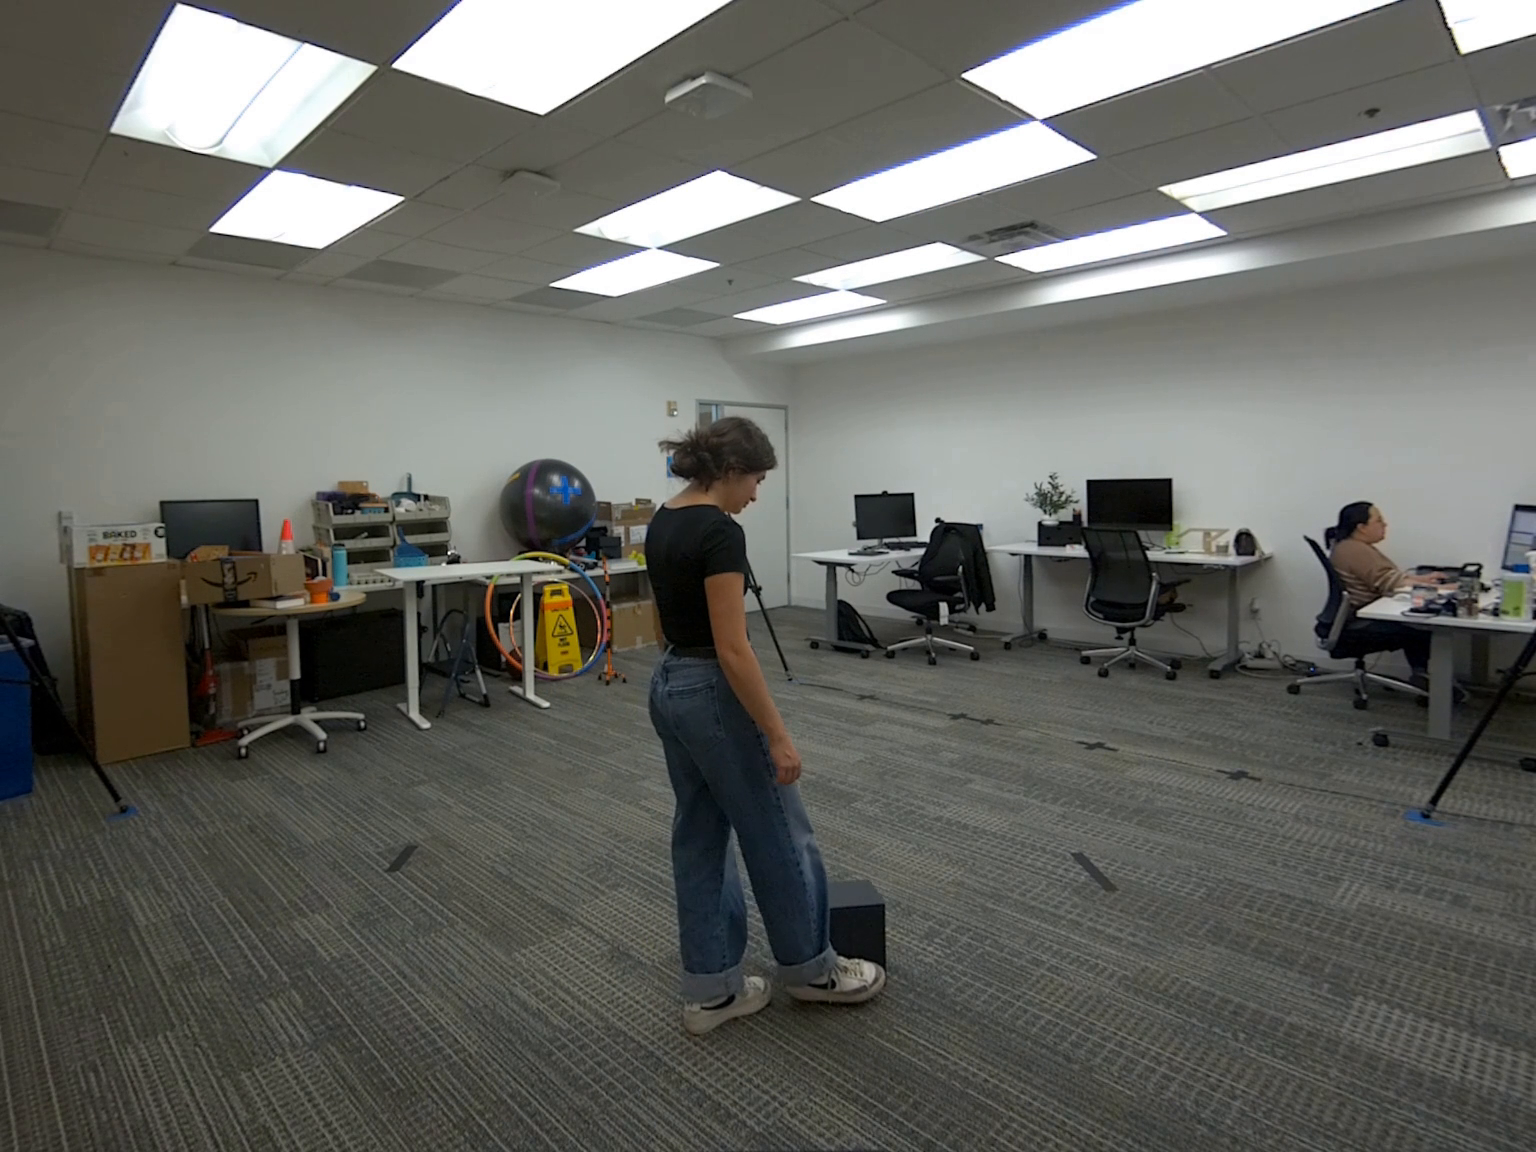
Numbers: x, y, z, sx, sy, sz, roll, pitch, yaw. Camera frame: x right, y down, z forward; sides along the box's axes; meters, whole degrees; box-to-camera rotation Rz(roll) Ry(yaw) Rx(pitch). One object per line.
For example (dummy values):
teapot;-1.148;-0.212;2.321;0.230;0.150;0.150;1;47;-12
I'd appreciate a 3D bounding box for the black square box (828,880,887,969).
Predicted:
black square box;0.211;1.004;2.405;0.215;0.227;0.157;-3;3;-8
